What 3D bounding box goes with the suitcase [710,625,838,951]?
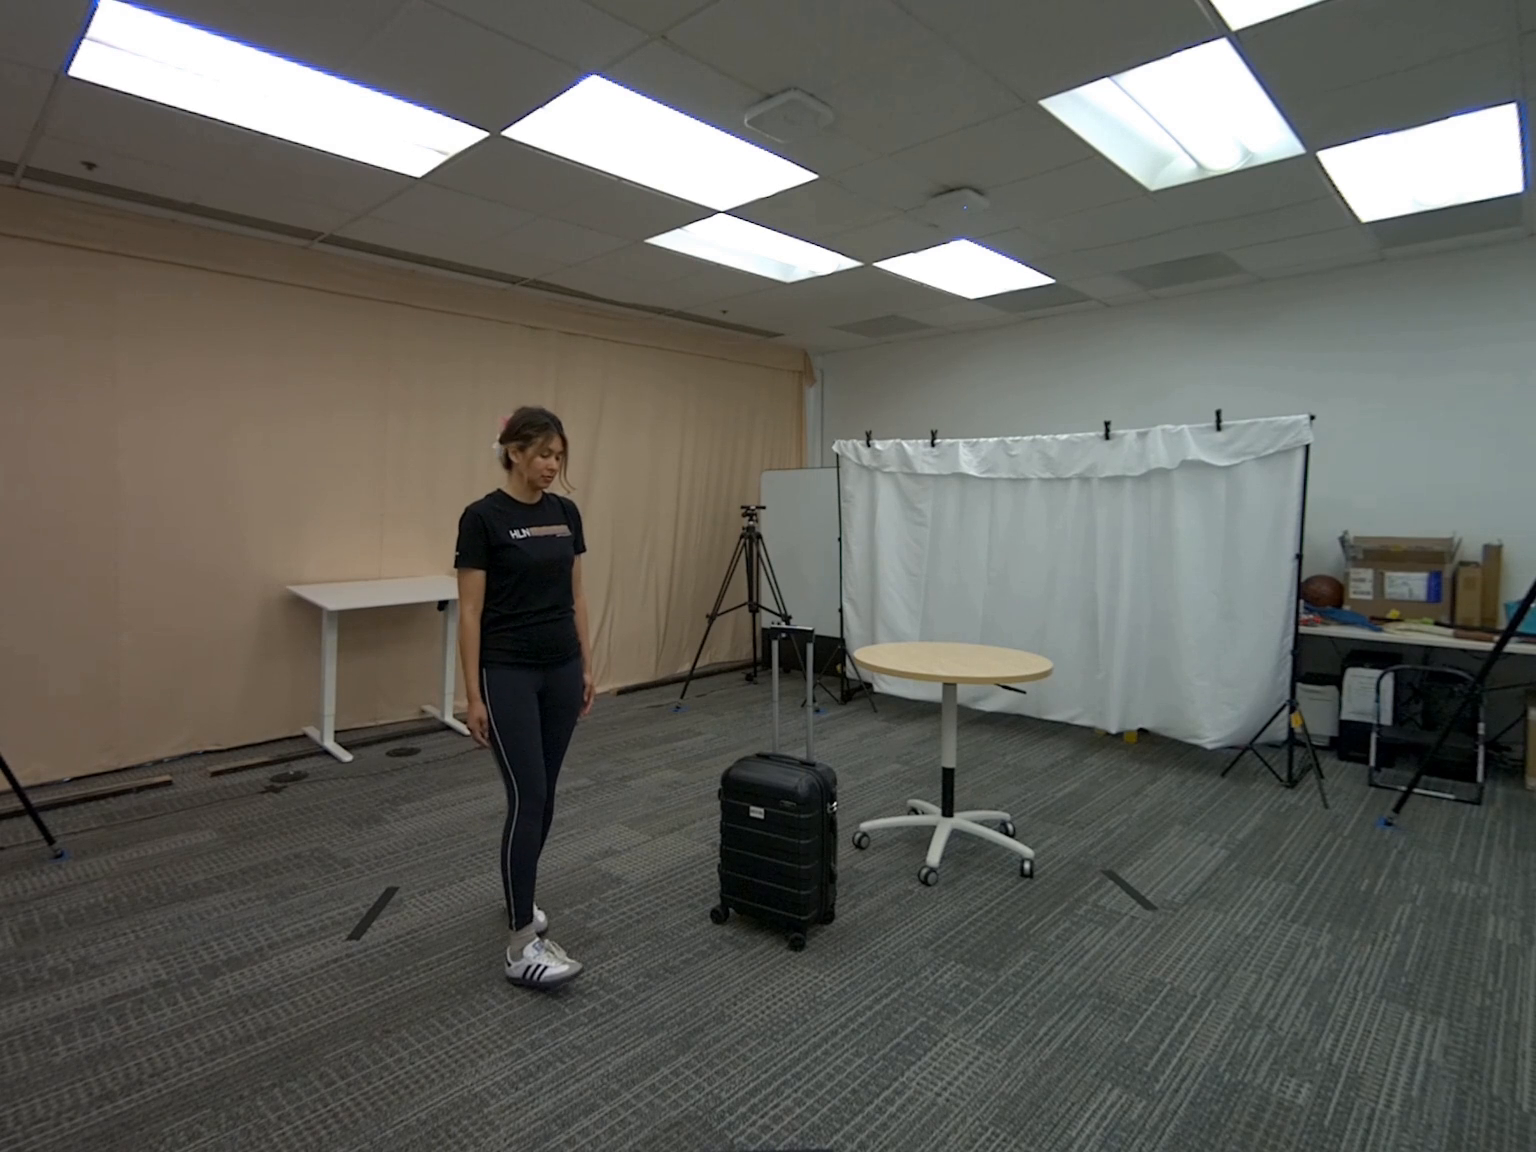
[{"bbox_3d":[0.040,0.683,2.781,0.396,0.976,0.250,4,6,31],"label":"suitcase"}]
